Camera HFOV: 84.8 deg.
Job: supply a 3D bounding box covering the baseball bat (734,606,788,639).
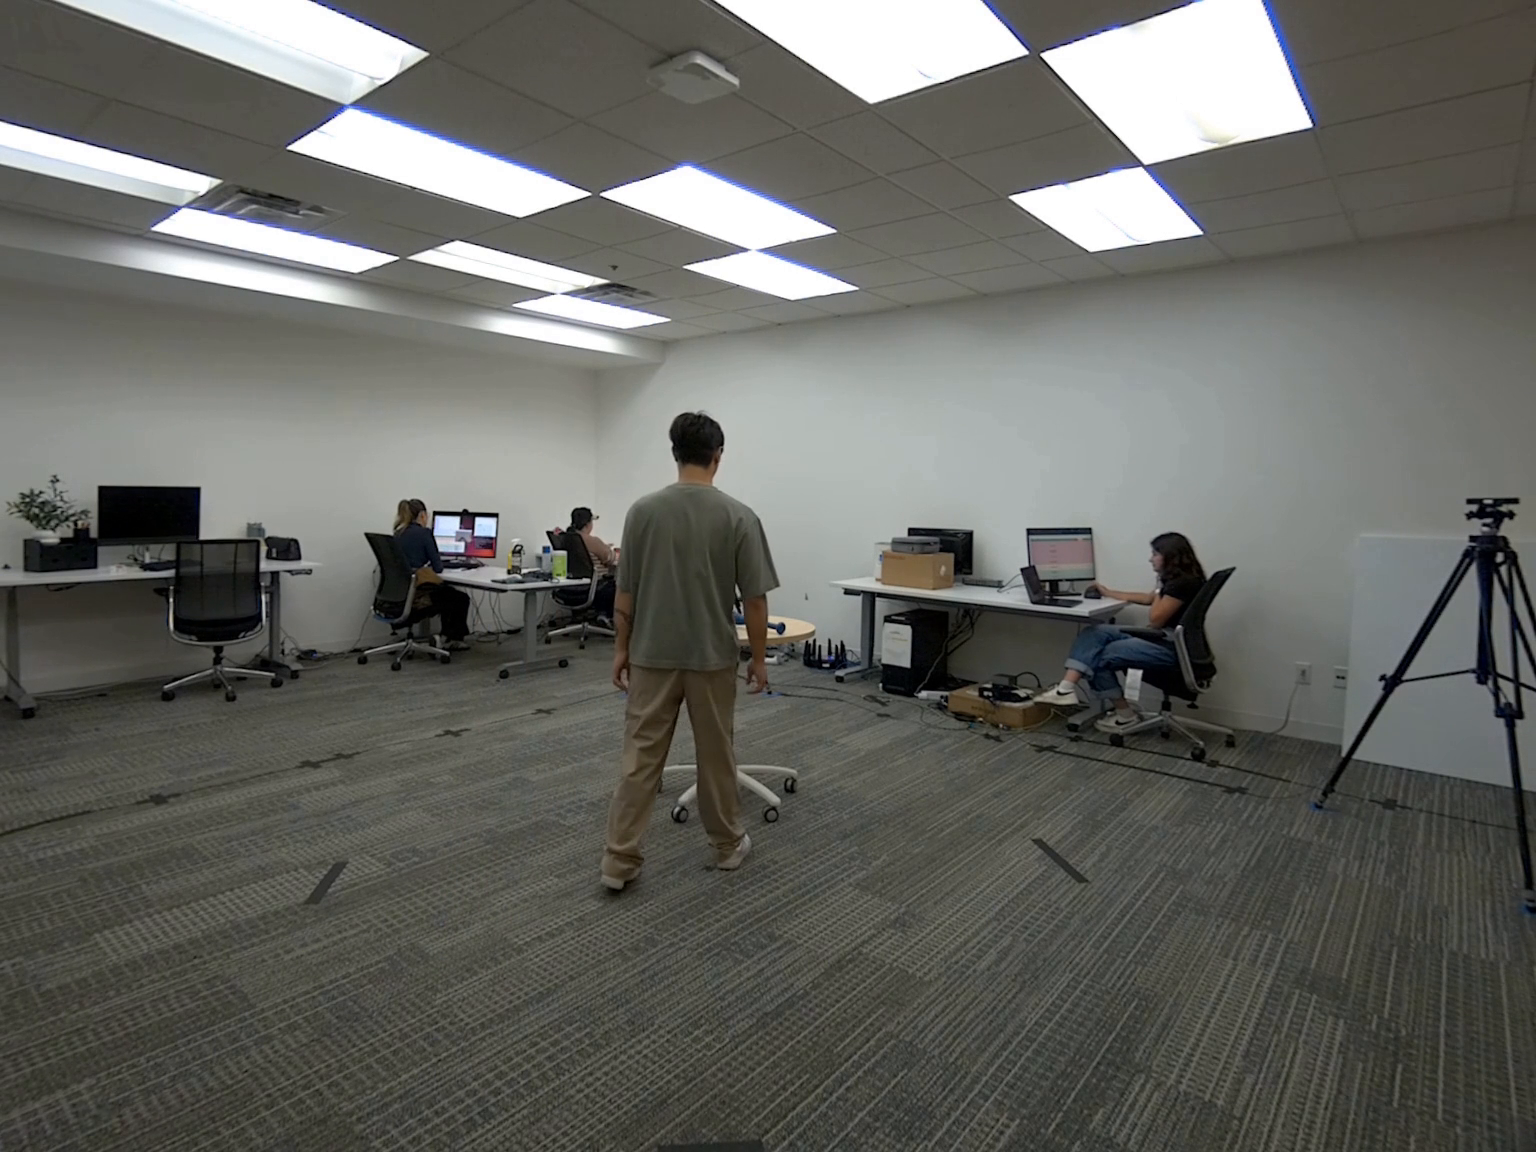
[{"bbox_3d":[-0.159,0.183,3.727,0.562,0.088,0.086,8,8,41],"label":"baseball bat"}]
